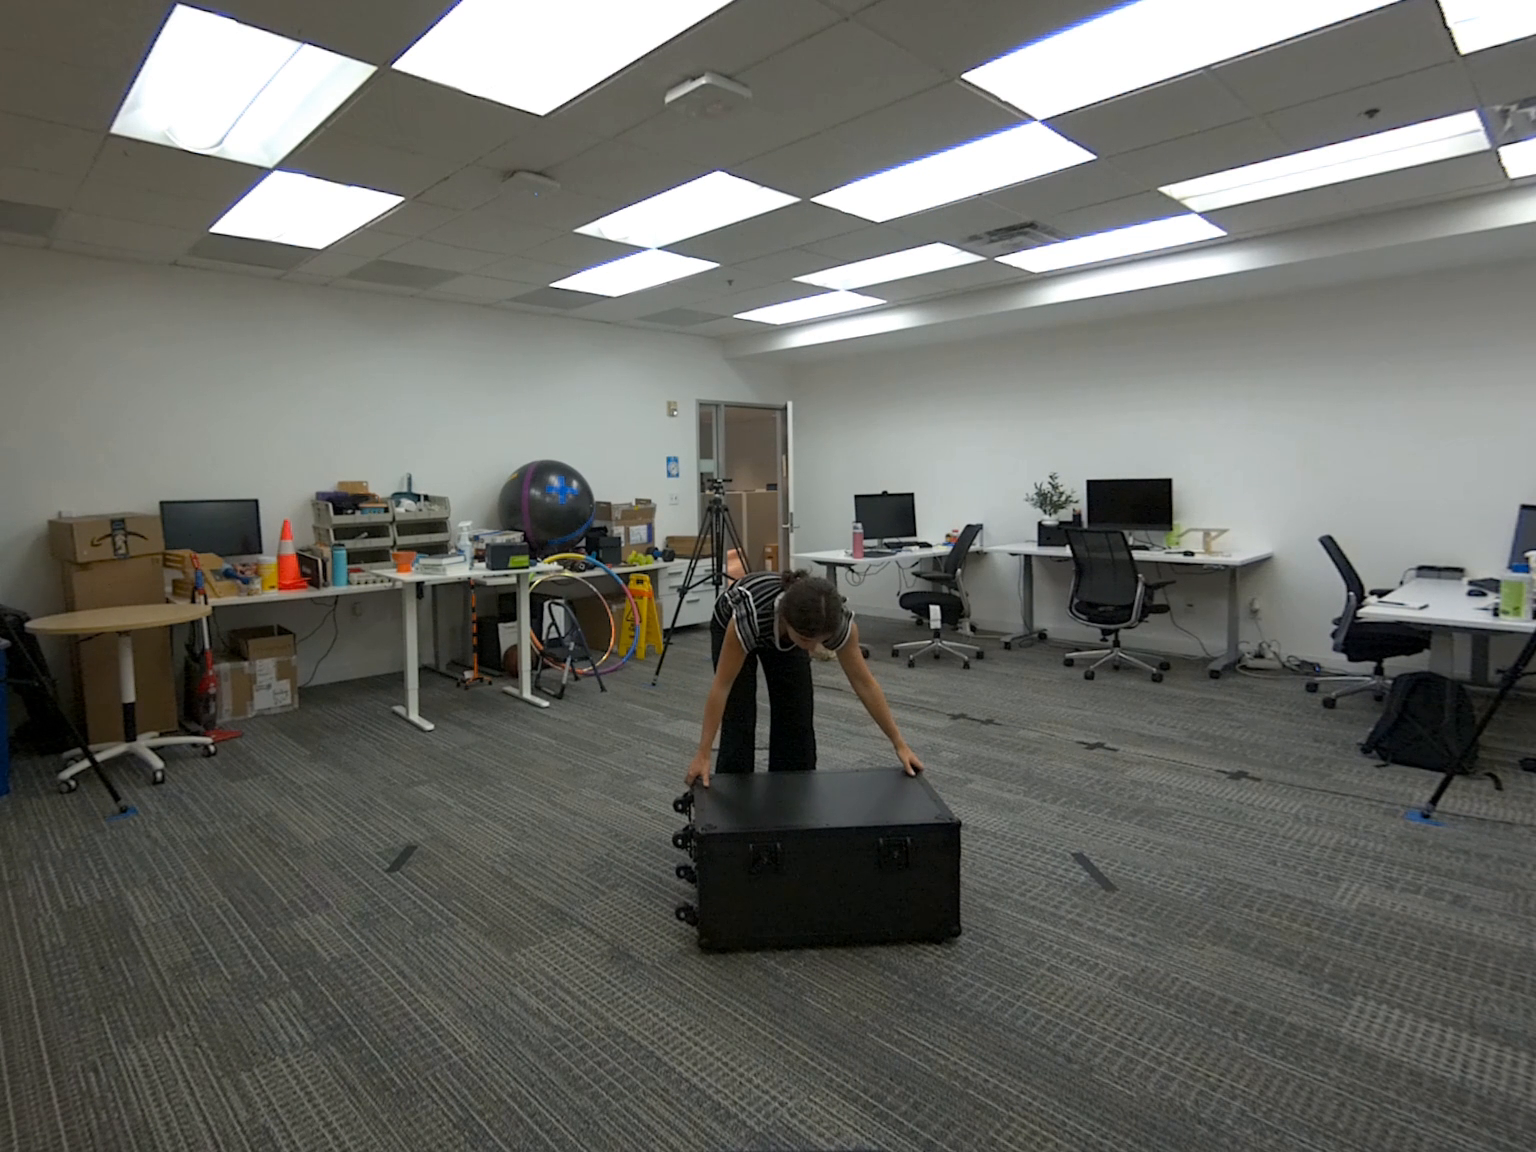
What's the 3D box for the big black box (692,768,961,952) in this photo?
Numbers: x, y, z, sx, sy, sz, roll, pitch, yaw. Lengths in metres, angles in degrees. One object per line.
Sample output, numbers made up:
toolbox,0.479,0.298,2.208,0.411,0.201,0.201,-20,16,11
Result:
big black box,0.125,0.889,2.744,0.858,0.394,0.526,-1,6,-4
